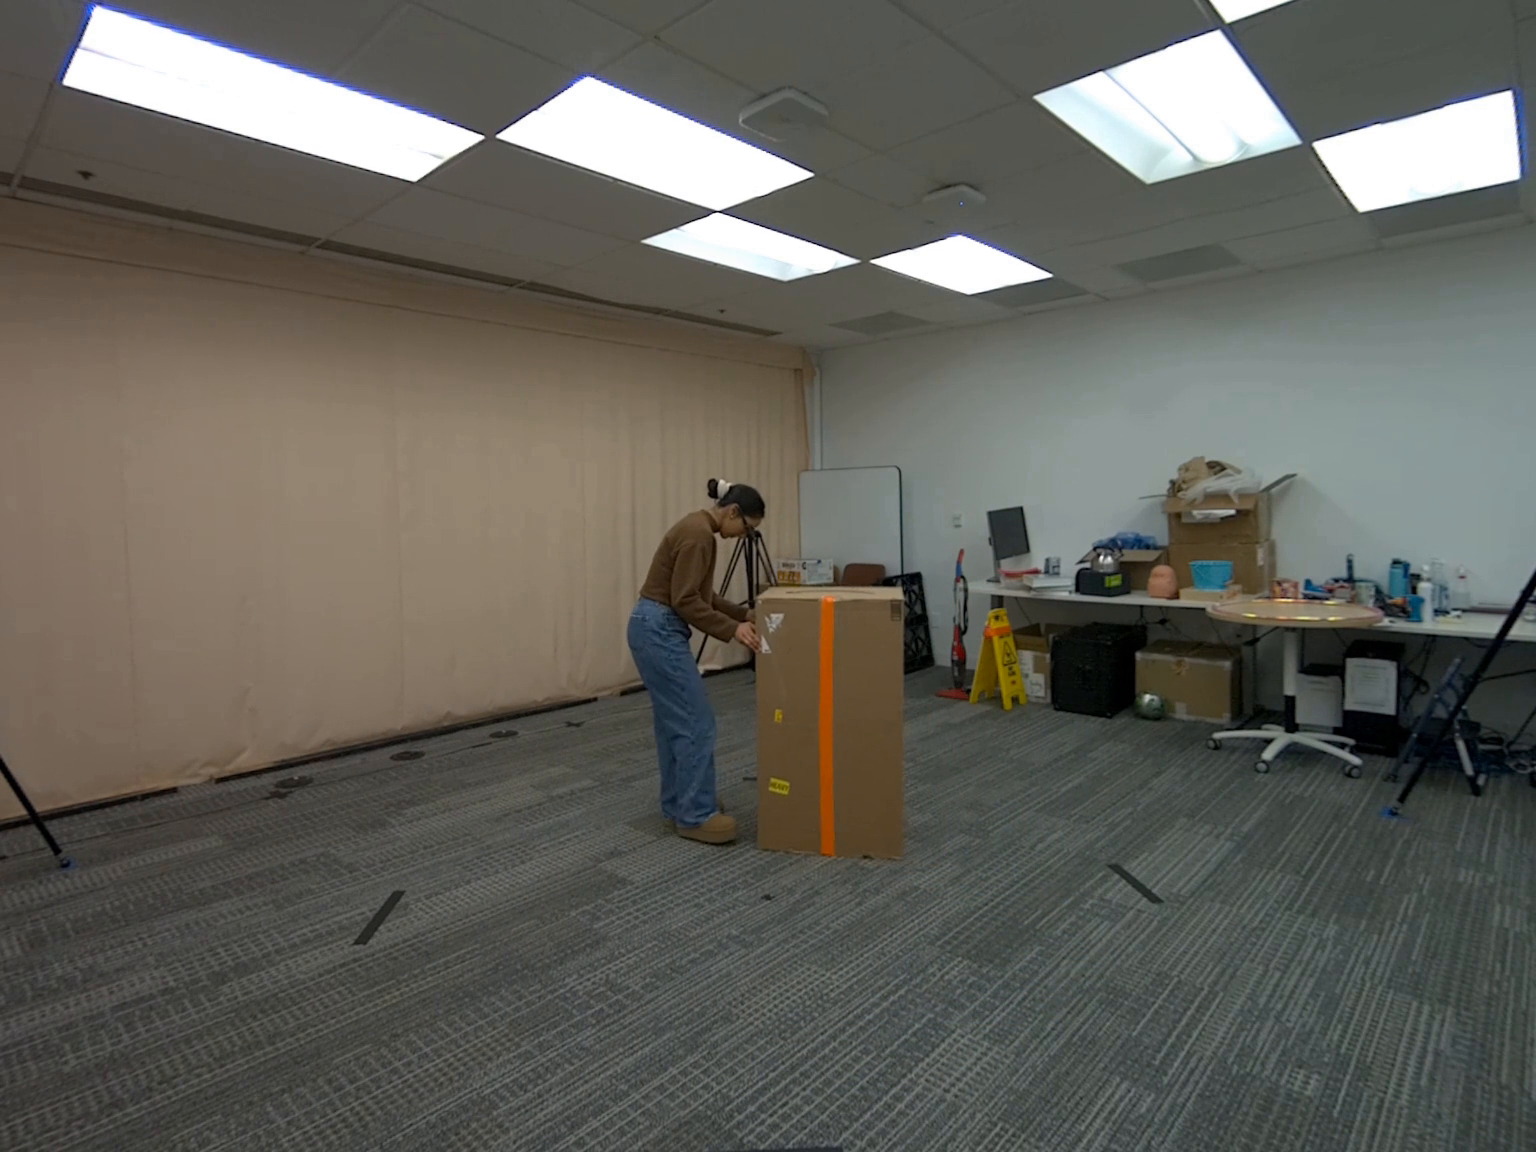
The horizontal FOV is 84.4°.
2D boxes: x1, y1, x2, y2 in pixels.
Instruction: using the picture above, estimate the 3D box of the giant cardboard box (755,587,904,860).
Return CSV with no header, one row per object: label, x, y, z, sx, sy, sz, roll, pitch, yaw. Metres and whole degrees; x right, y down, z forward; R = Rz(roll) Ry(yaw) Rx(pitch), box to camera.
giant cardboard box,0.276,0.577,3.498,0.585,1.023,0.422,0,4,11
